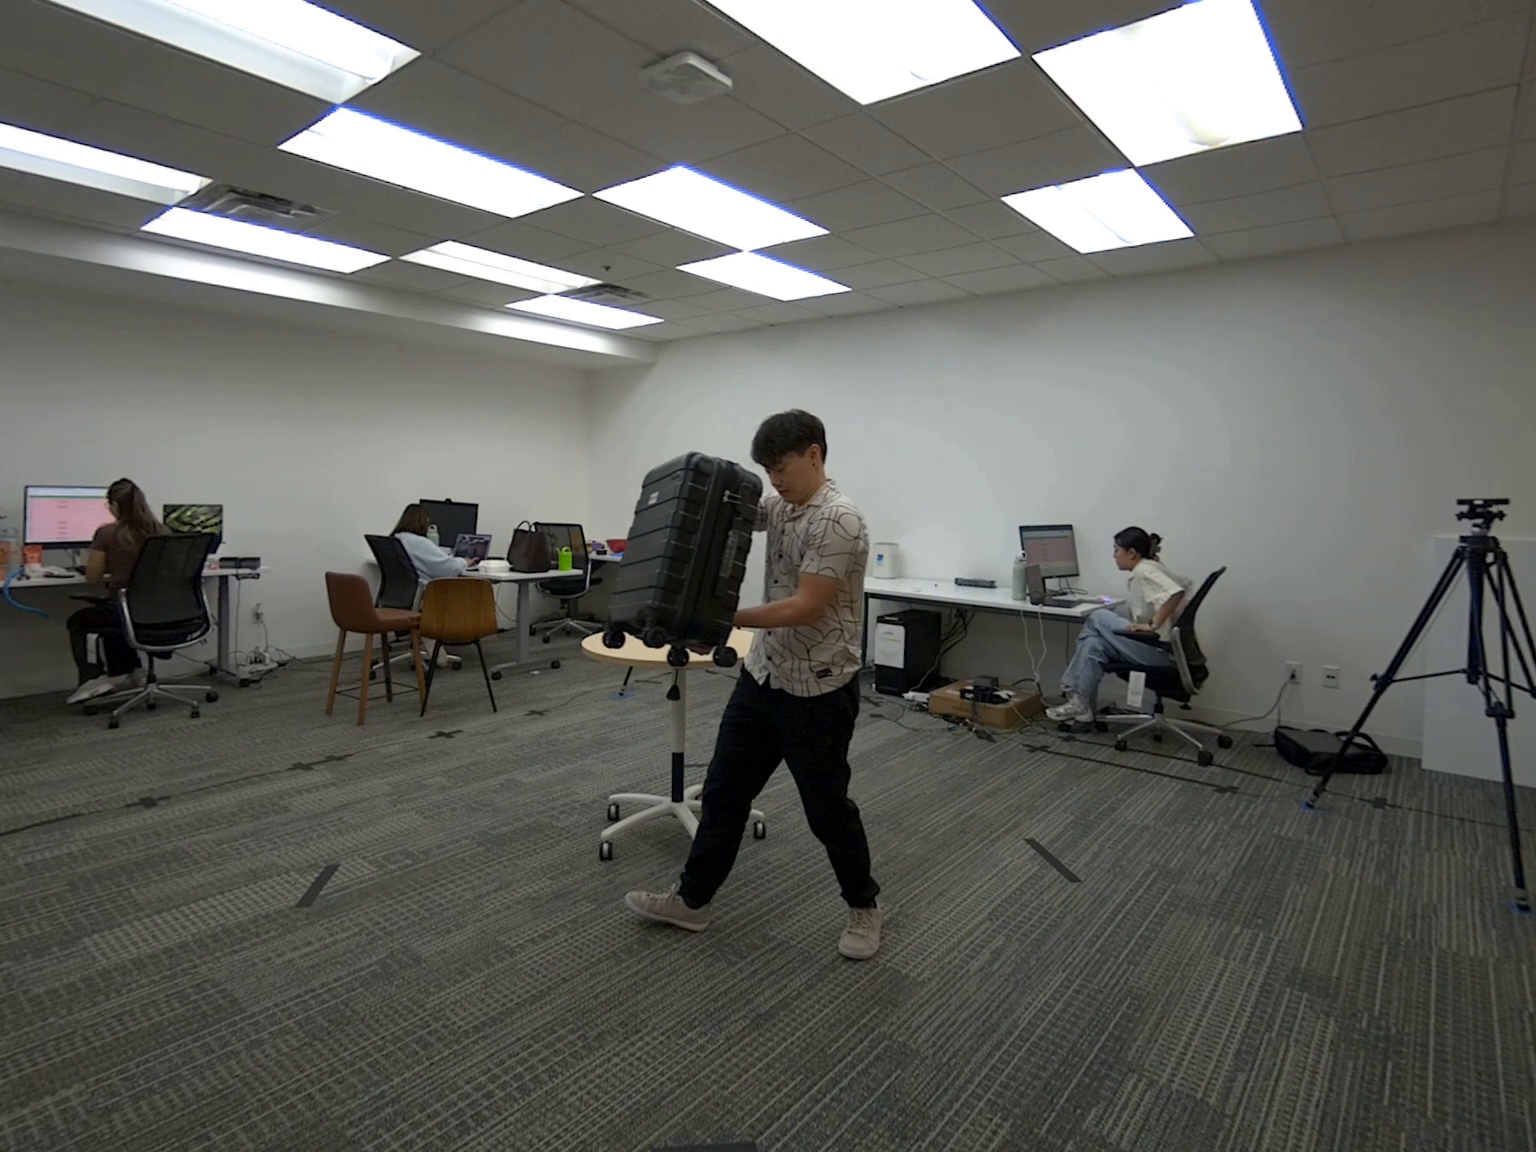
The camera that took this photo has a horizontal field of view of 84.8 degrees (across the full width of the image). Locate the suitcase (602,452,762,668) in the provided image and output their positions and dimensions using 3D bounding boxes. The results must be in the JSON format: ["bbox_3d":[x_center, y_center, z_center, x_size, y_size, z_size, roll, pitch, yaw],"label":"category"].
[{"bbox_3d":[-0.238,-0.057,2.331,0.241,0.554,0.383,19,-14,-26],"label":"suitcase"}]
